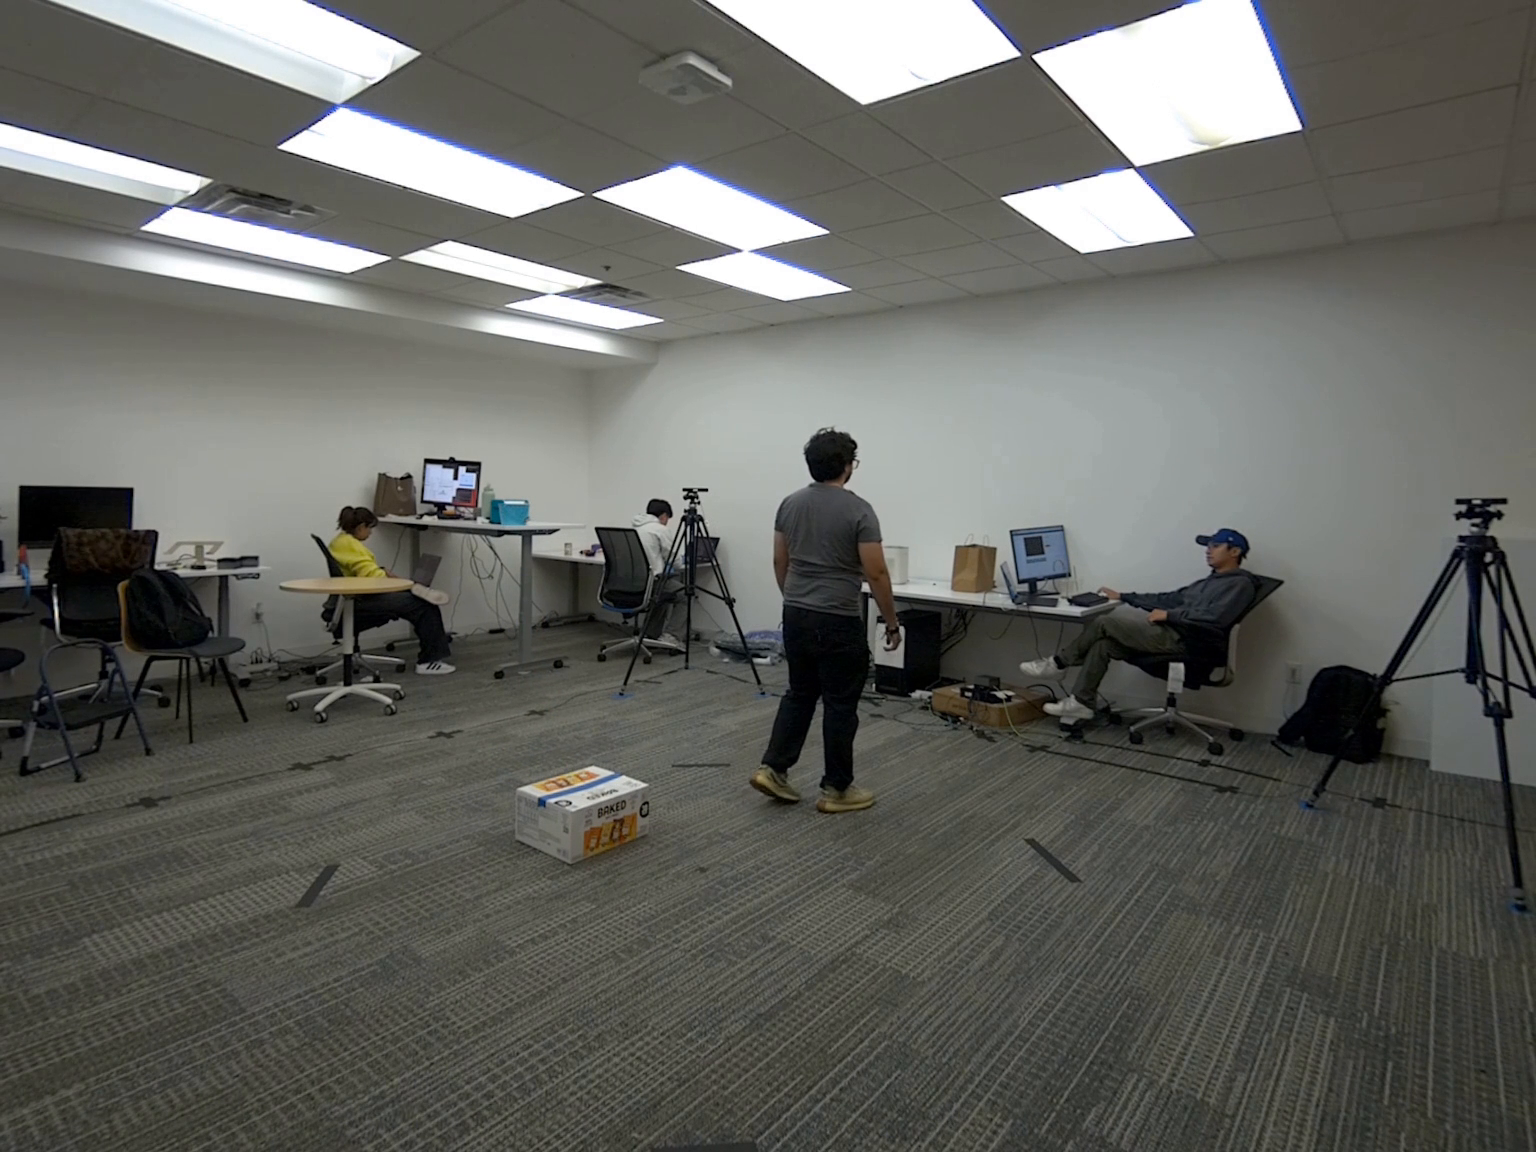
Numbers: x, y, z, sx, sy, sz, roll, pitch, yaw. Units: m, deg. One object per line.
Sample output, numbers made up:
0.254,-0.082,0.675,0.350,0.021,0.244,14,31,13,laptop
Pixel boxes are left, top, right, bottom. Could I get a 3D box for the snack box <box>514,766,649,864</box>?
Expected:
-0.745,0.935,3.370,0.352,0.205,0.393,5,6,38,snack box
